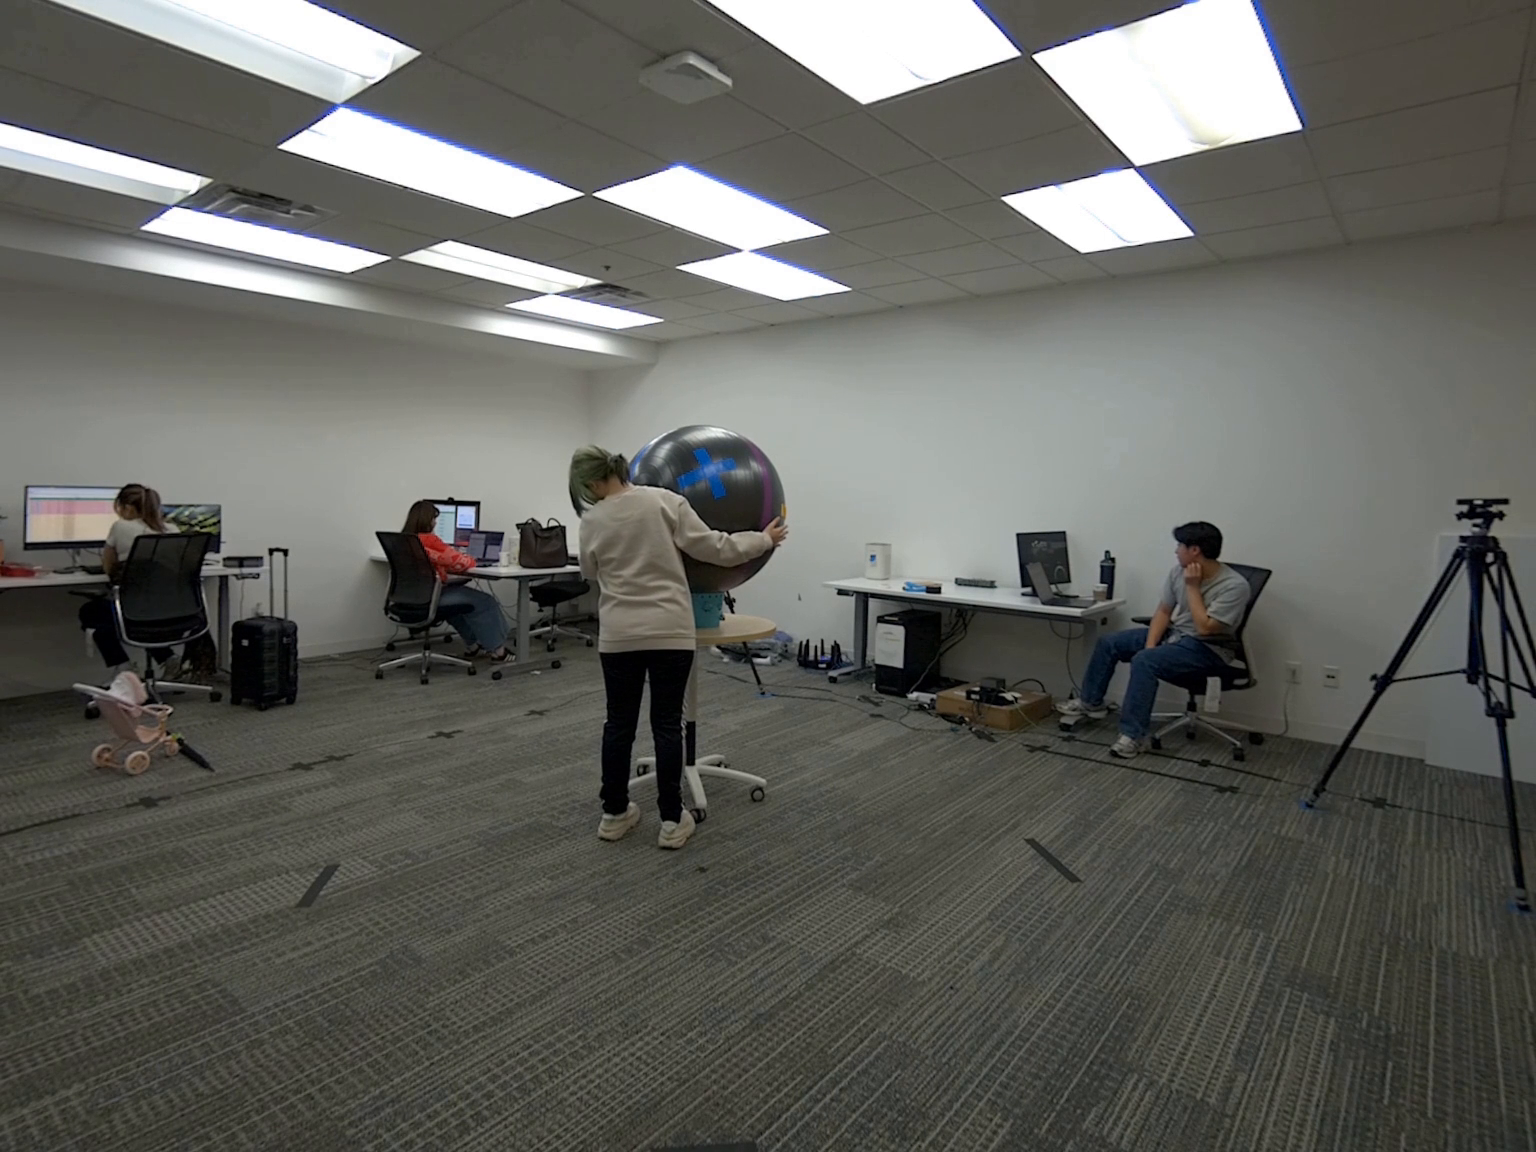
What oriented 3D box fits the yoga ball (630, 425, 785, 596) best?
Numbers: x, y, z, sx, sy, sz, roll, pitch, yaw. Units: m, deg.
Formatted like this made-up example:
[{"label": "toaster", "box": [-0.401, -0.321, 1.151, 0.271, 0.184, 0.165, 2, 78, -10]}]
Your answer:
[{"label": "yoga ball", "box": [-0.307, -0.295, 3.801, 0.757, 0.756, 0.762, 1, 4, -2]}]
